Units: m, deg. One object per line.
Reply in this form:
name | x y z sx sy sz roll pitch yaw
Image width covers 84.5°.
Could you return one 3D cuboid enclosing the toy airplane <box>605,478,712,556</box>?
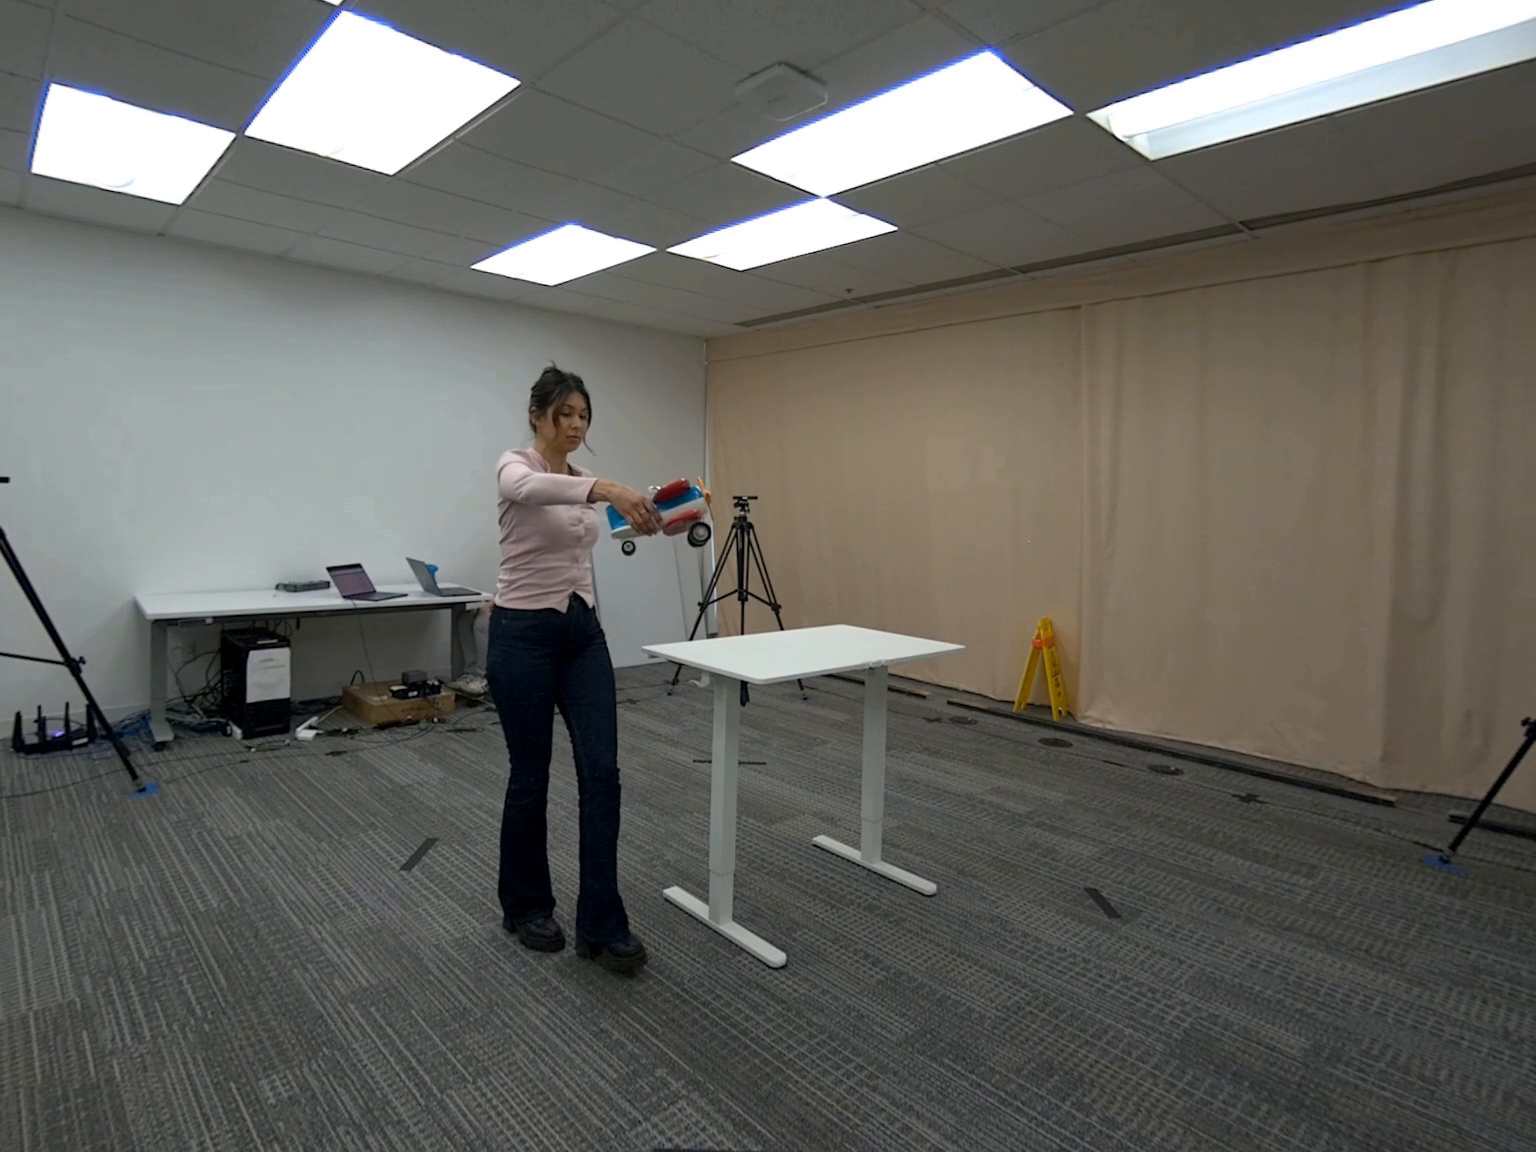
toy airplane | -0.265 -0.140 2.038 0.254 0.157 0.255 -4 -6 -35
